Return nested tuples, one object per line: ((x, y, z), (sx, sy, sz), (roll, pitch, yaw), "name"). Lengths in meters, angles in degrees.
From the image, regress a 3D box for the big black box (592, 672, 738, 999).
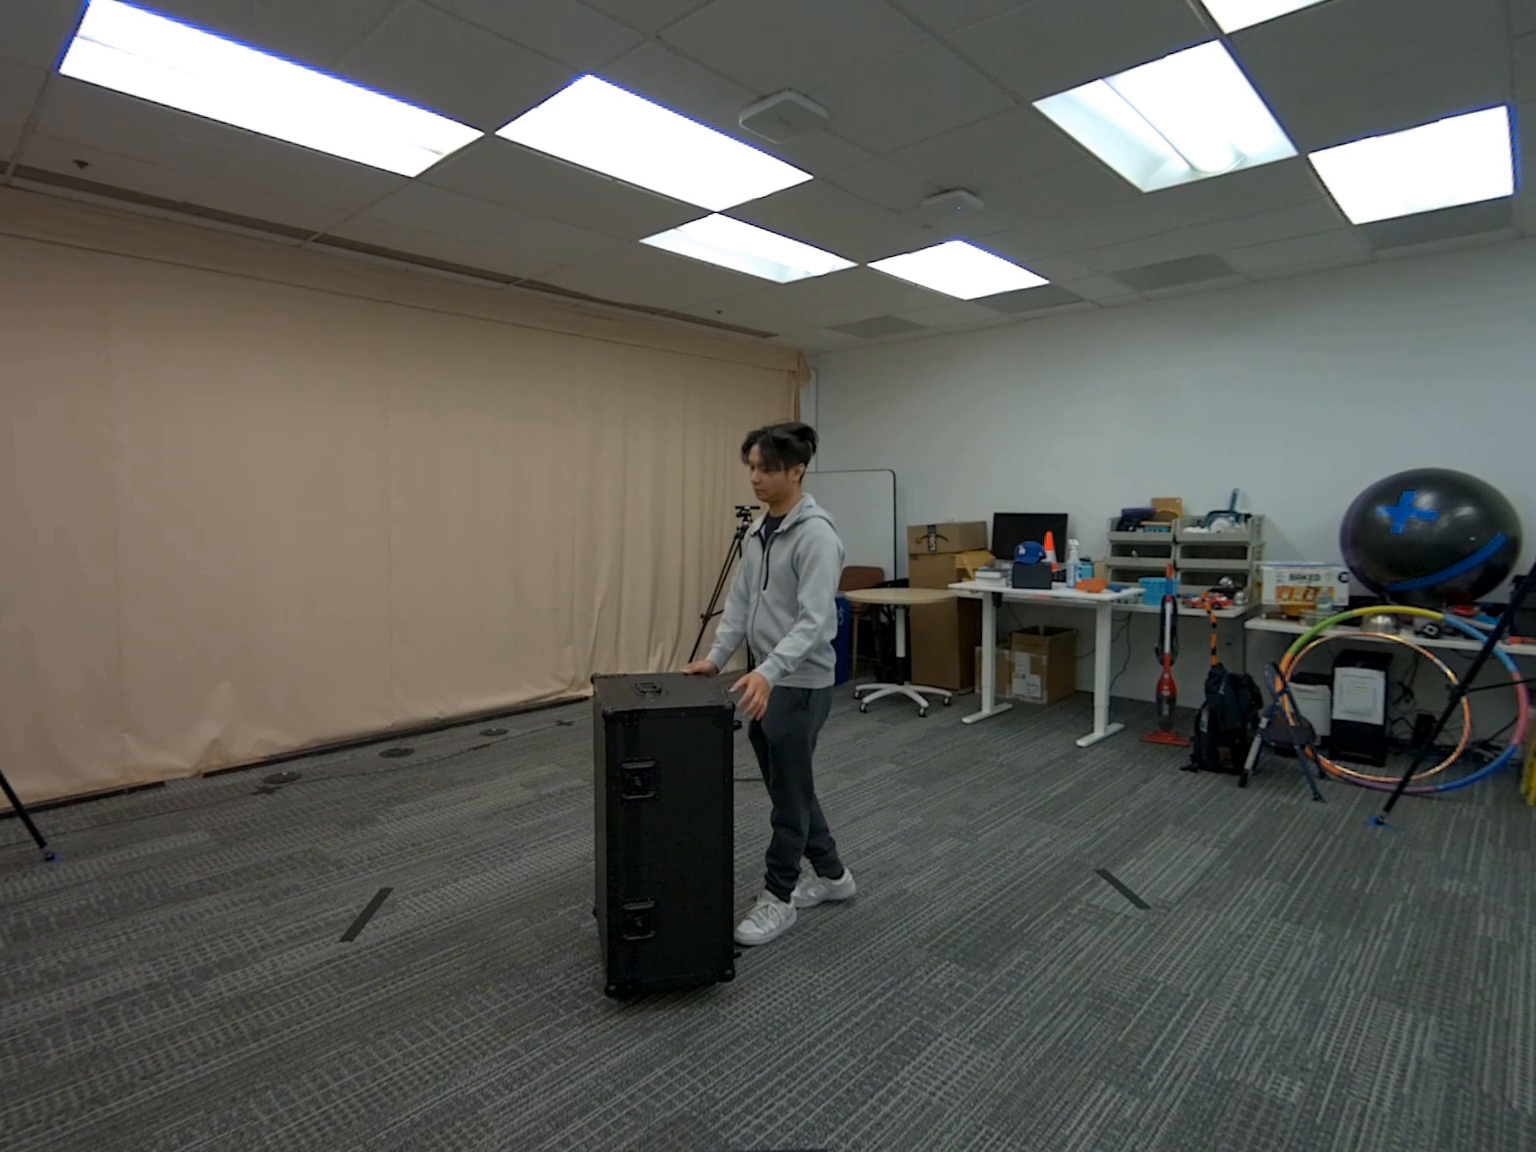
((-0.320, 0.701, 2.513), (0.390, 0.860, 0.531), (-1, 3, -16), "big black box")
